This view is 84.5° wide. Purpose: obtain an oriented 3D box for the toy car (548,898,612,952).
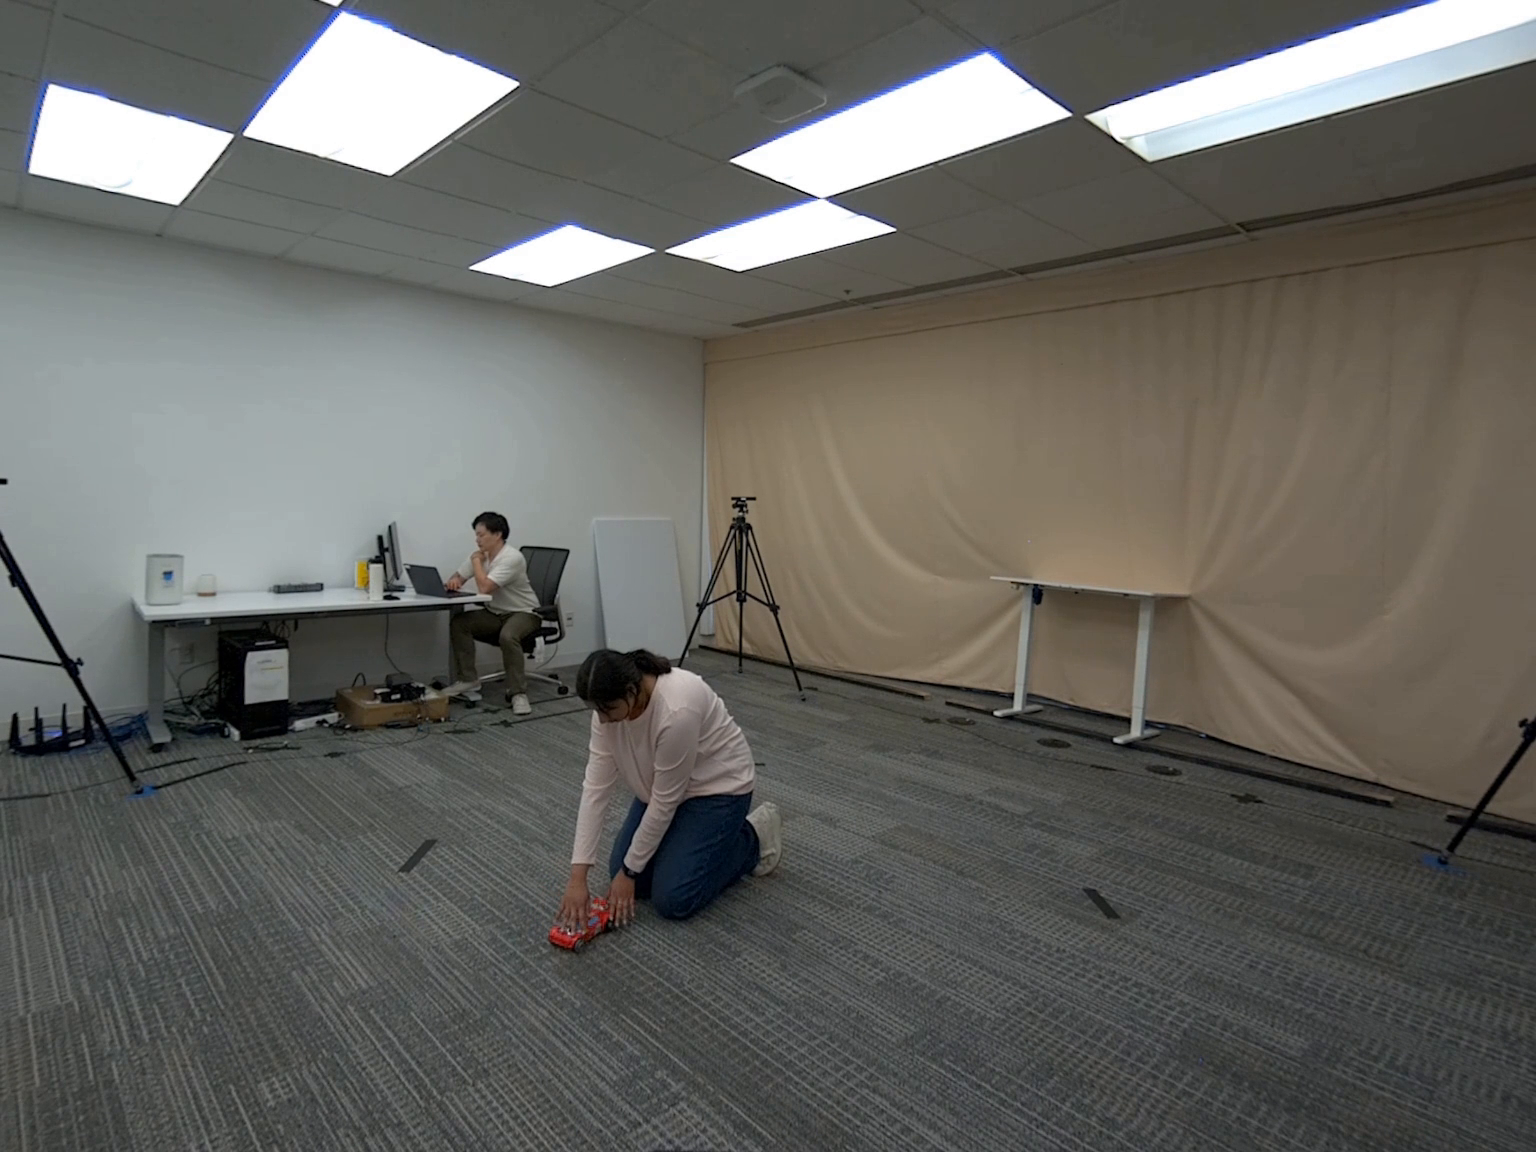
[{"bbox_3d":[-0.588,1.110,2.667,0.133,0.082,0.251,3,16,30],"label":"toy car"}]
